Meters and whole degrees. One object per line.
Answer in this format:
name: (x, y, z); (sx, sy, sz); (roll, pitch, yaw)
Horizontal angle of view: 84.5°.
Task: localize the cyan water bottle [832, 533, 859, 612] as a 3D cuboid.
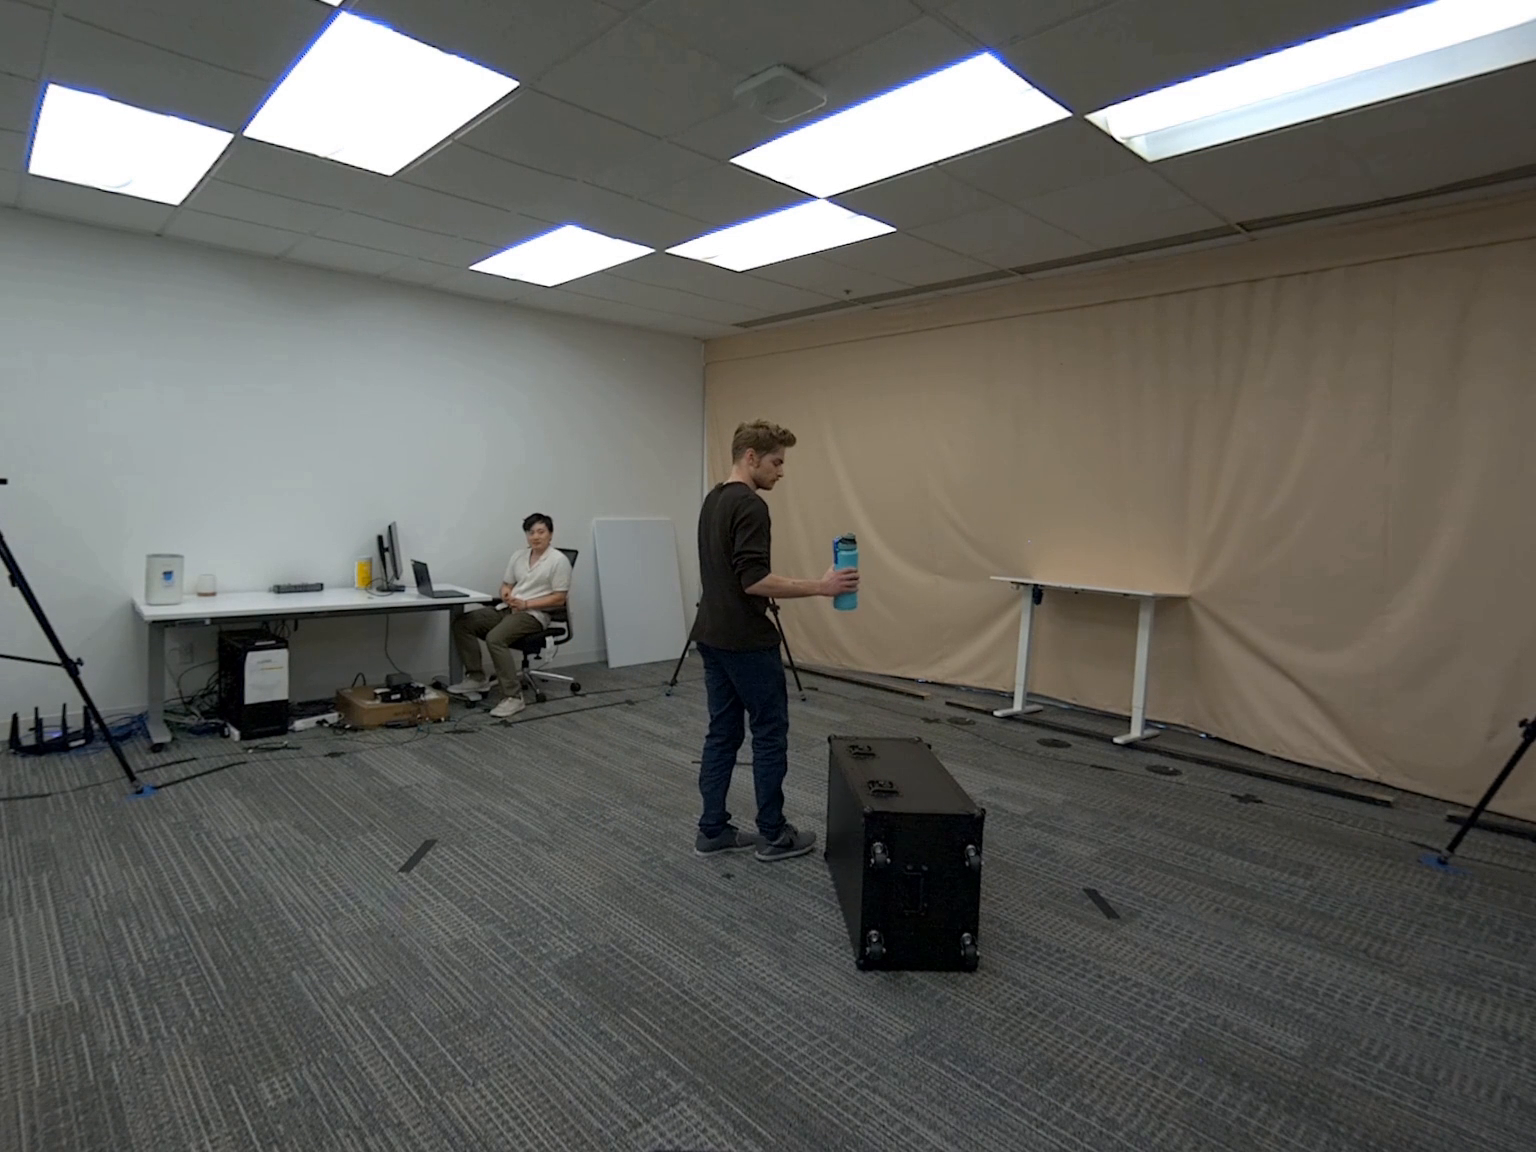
cyan water bottle: (0.279, -0.022, 3.127); (0.092, 0.280, 0.093); (-1, 13, -1)
